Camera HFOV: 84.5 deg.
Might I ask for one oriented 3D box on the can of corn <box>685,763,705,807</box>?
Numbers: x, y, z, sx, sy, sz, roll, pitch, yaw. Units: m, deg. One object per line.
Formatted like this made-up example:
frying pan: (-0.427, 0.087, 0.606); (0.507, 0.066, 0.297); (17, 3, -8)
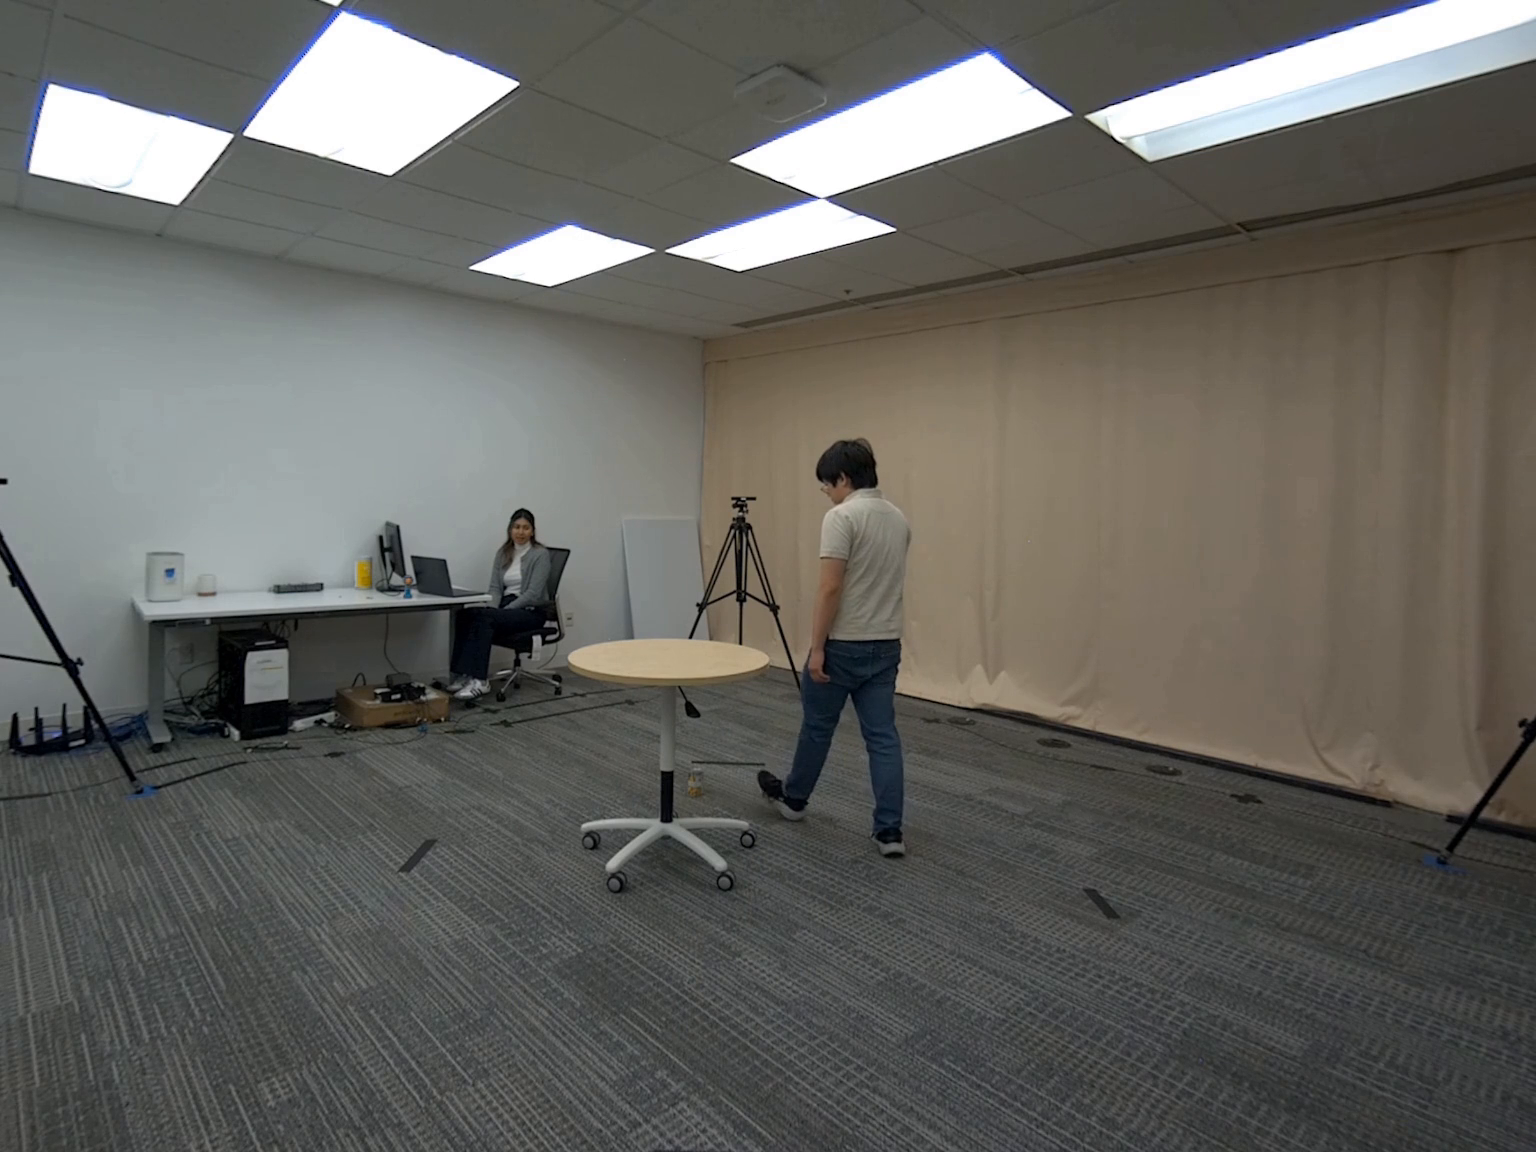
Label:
can of corn: (-0.346, 0.973, 3.972); (0.074, 0.111, 0.074); (4, 2, -2)
